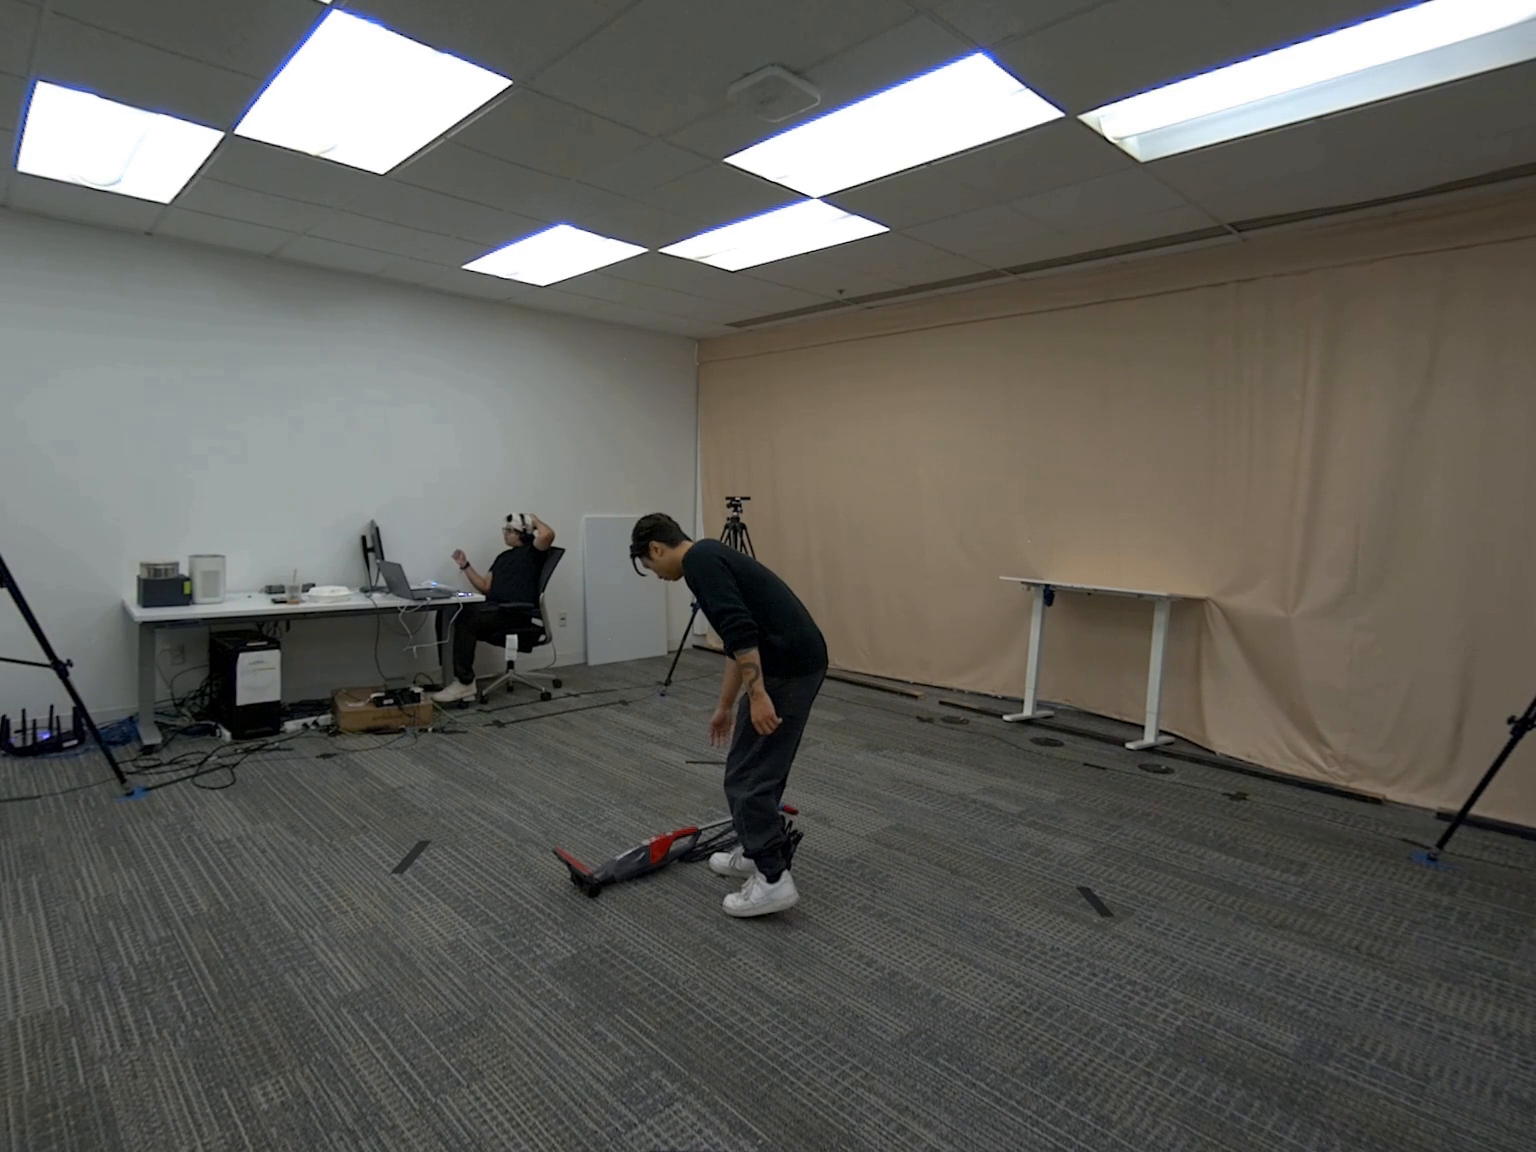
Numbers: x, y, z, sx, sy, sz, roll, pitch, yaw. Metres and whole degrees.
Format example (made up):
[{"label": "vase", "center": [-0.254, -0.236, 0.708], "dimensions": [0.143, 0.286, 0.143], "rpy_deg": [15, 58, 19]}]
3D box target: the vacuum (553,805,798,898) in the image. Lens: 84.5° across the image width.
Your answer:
[{"label": "vacuum", "center": [-0.279, 1.026, 3.266], "dimensions": [1.025, 0.143, 0.259], "rpy_deg": [-2, 7, -40]}]
